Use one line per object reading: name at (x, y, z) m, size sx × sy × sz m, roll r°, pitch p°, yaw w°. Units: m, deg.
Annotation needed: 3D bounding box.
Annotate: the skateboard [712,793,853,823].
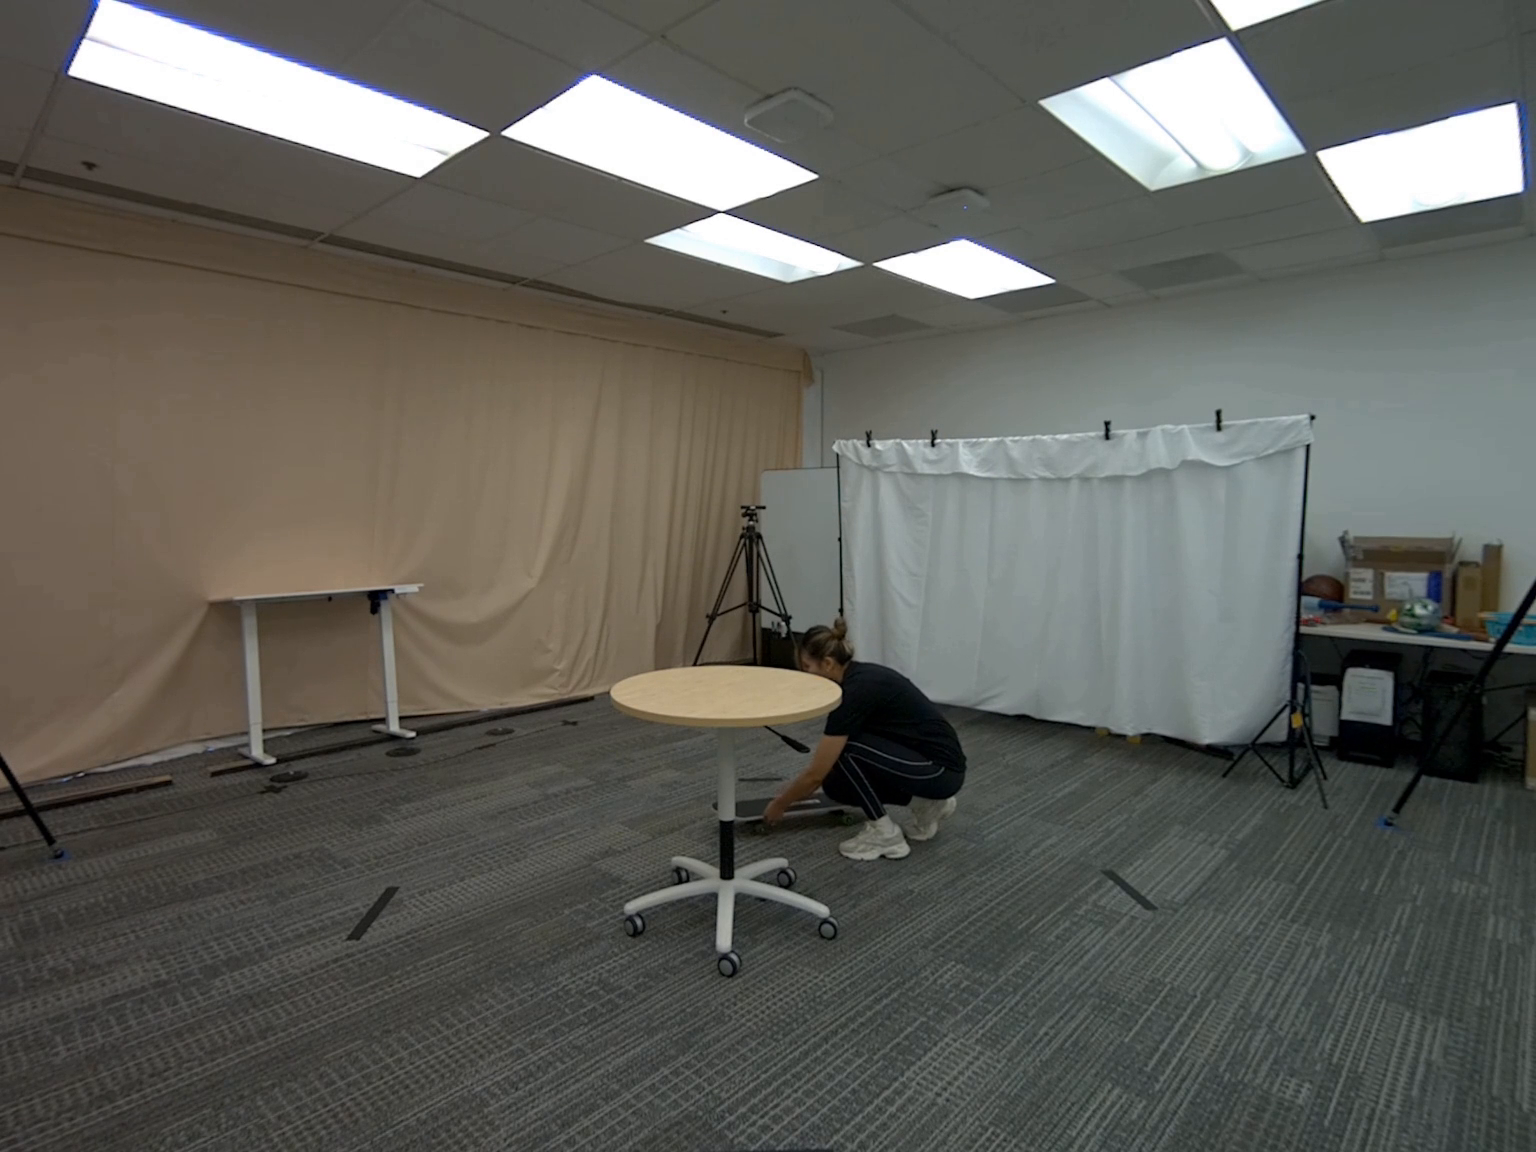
skateboard at (0.127, 1.024, 3.689) m, size 0.772 × 0.110 × 0.197 m, roll -1°, pitch 3°, yaw -17°
